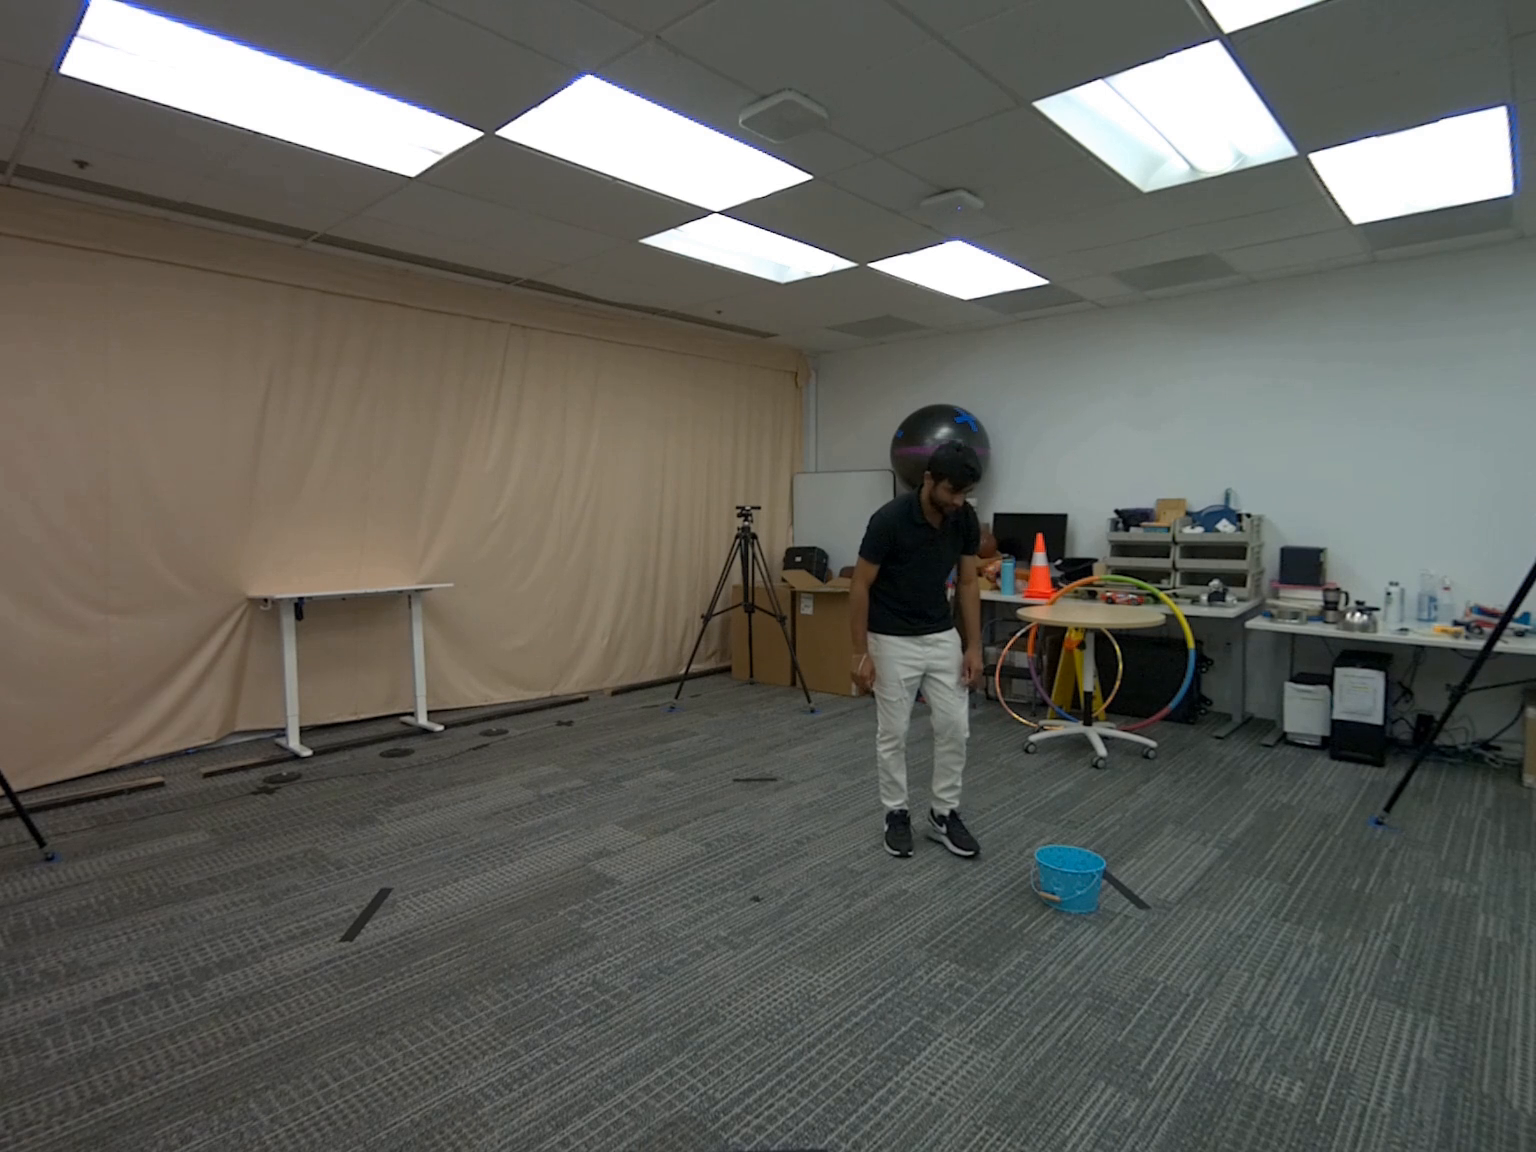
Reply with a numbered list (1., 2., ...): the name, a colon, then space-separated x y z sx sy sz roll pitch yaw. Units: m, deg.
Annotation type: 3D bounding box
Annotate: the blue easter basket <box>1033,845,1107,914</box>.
1. blue easter basket: 1.068 1.070 2.967 0.243 0.155 0.244 0 3 -2
